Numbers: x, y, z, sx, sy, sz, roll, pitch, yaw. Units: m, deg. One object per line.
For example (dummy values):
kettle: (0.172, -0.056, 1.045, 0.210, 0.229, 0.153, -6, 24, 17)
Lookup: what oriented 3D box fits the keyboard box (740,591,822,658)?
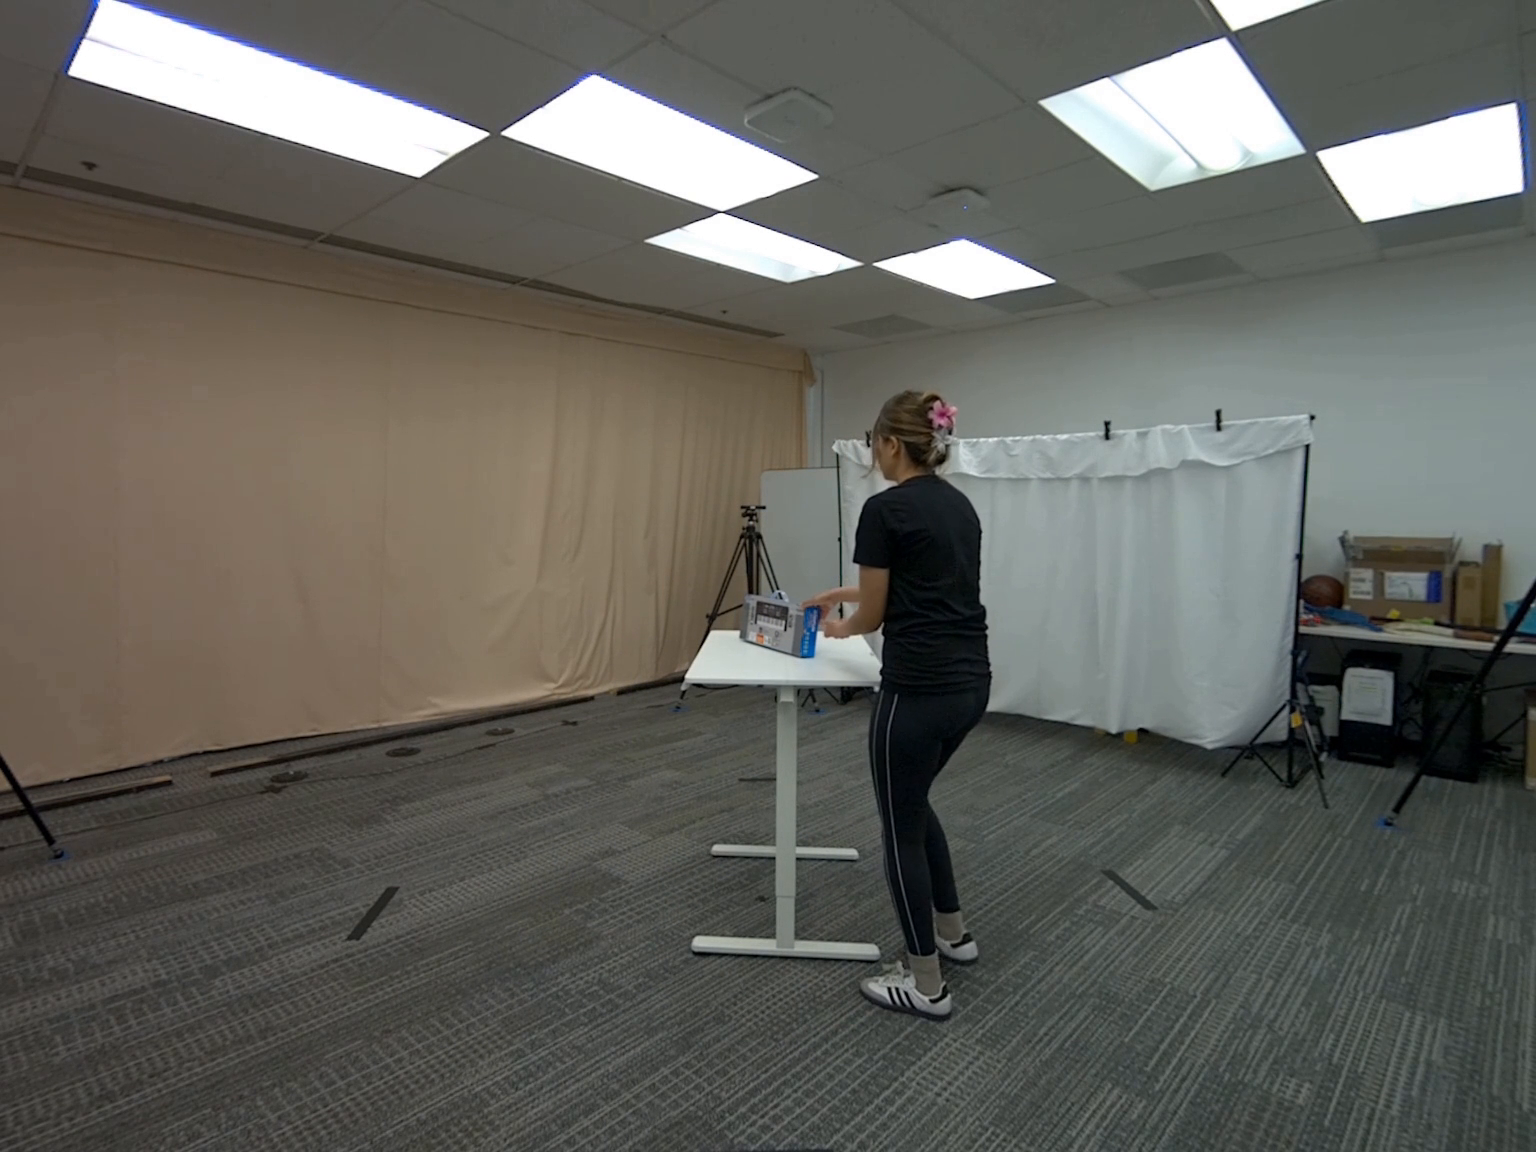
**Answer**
keyboard box: (0.035, 0.173, 2.998, 0.057, 0.176, 0.449, 5, 2, -29)
